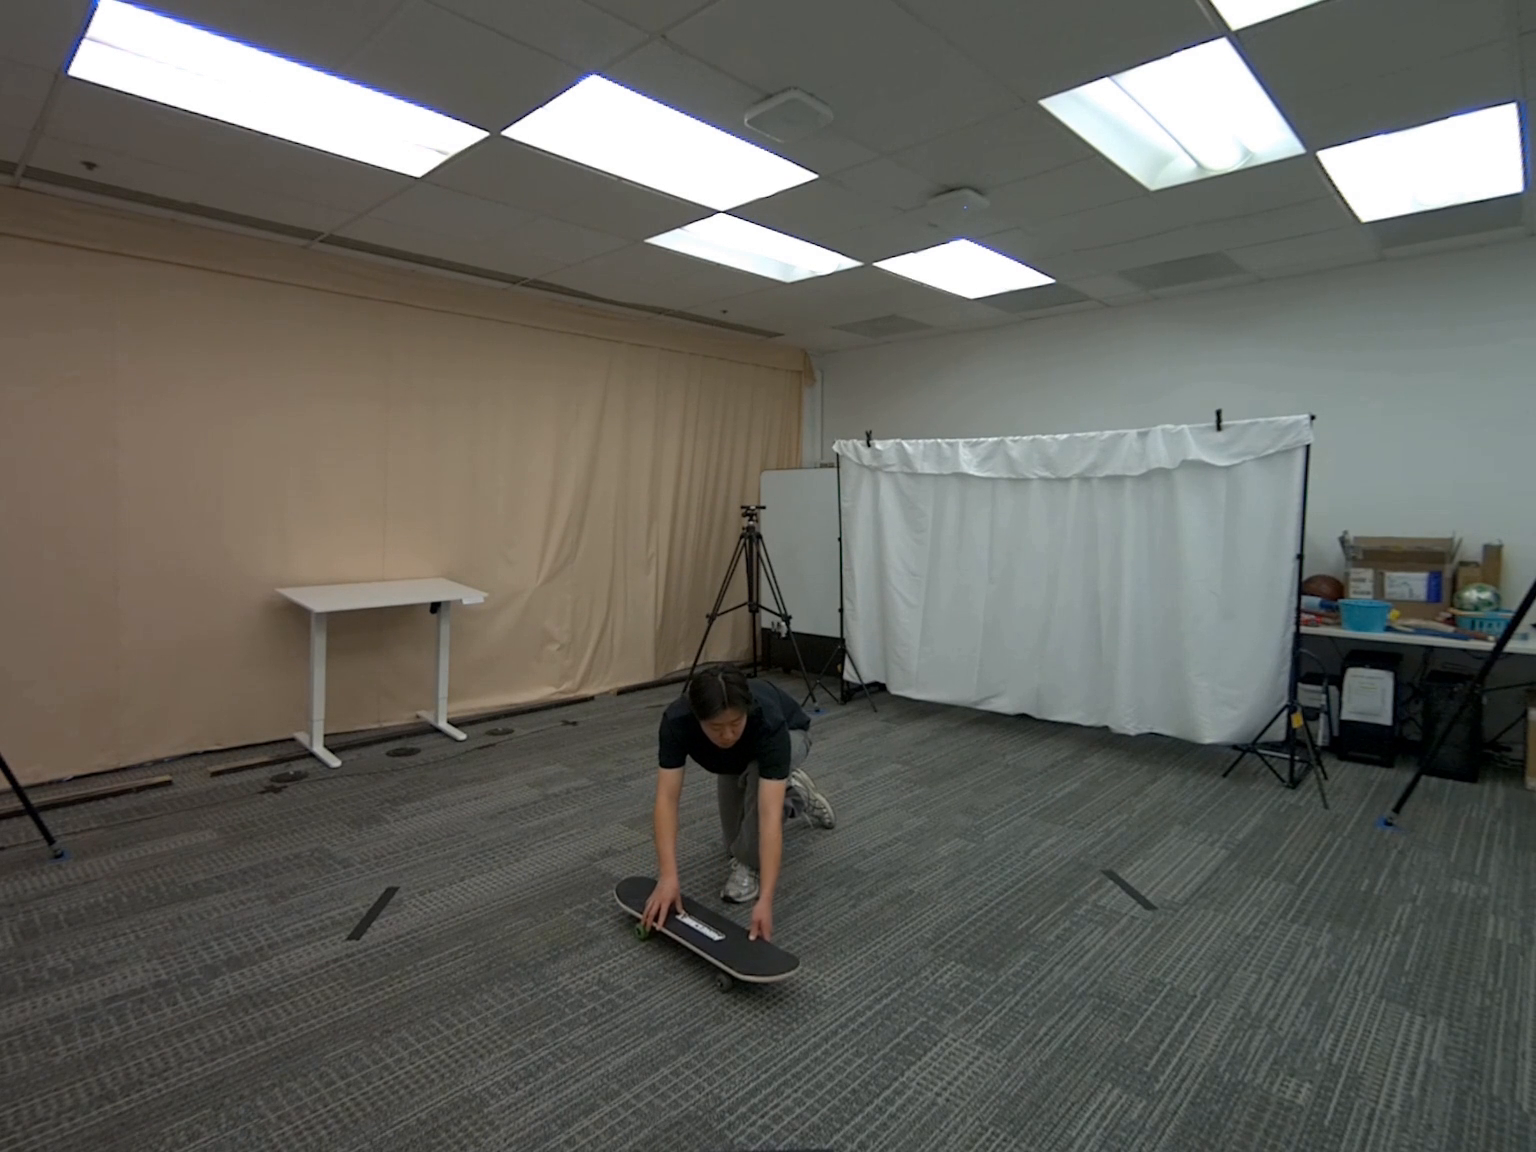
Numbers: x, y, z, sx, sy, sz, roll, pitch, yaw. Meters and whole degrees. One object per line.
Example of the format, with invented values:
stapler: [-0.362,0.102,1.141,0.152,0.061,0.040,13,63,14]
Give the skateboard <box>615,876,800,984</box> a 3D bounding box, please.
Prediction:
skateboard: [-0.208,1.112,2.617,0.187,0.110,0.812,-5,6,-44]
